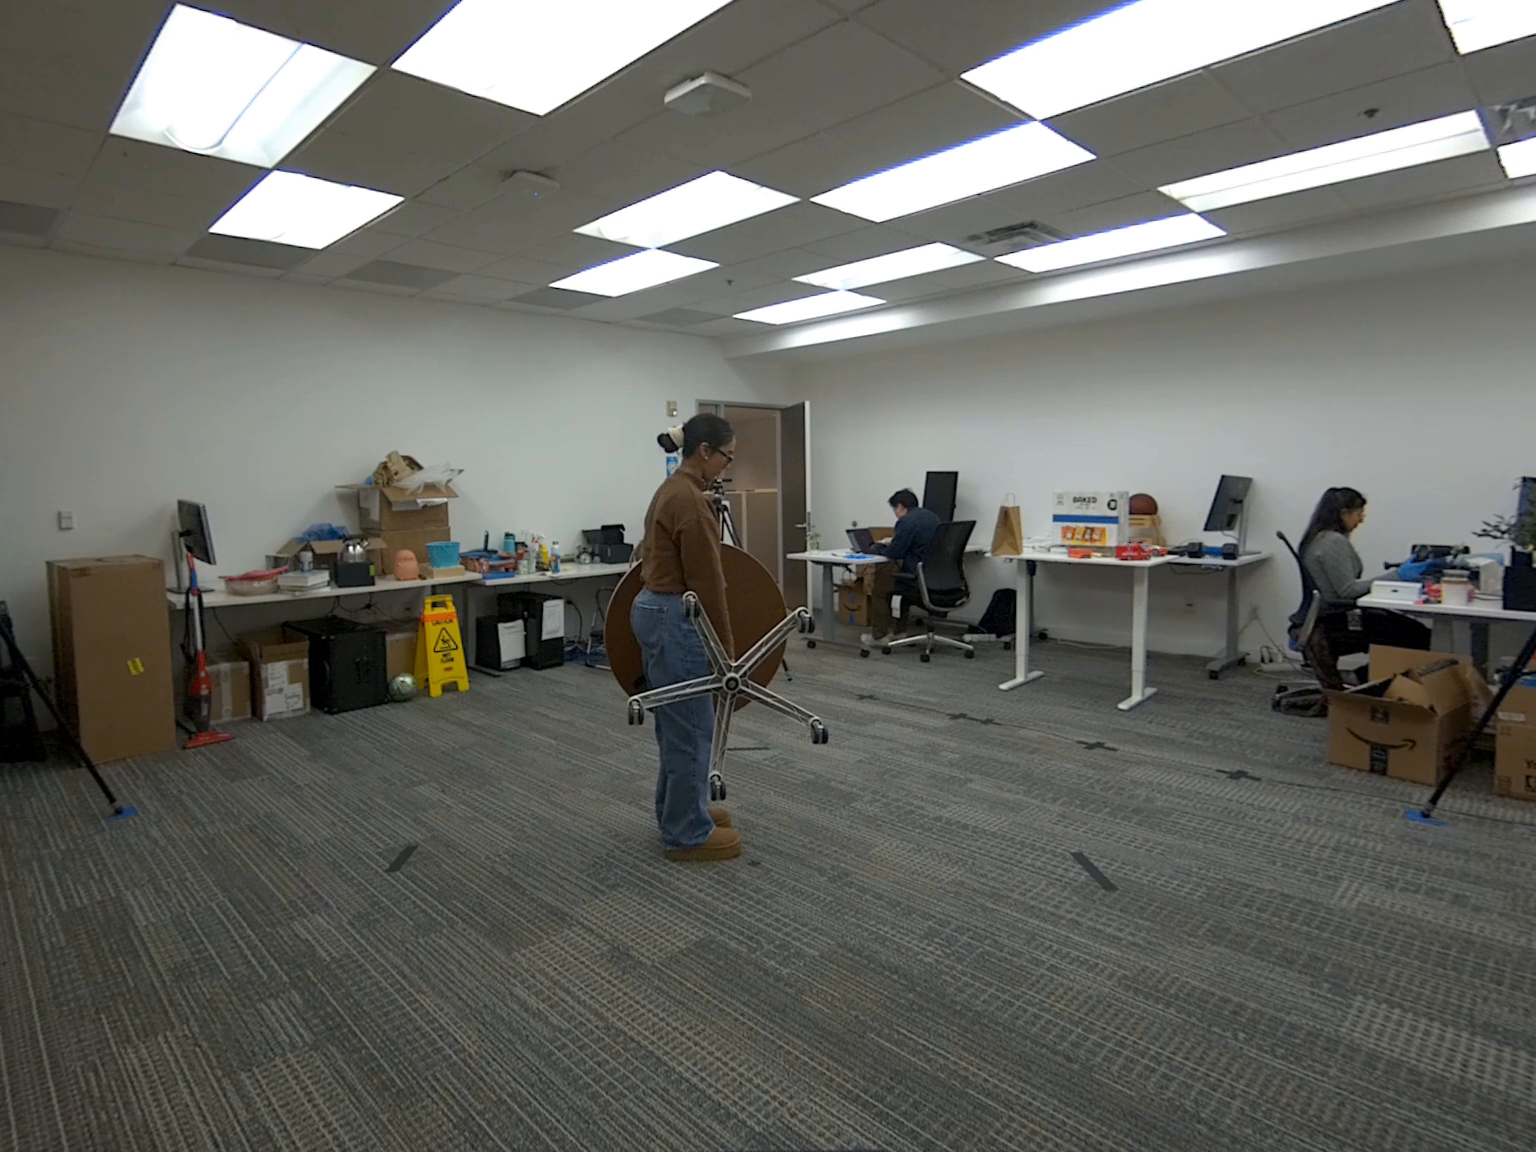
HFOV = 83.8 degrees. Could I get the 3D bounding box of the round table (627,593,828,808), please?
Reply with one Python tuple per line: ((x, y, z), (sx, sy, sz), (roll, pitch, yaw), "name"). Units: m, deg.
((-0.198, 0.311, 3.142), (0.755, 0.757, 0.810), (-2, 10, -13), "round table")
